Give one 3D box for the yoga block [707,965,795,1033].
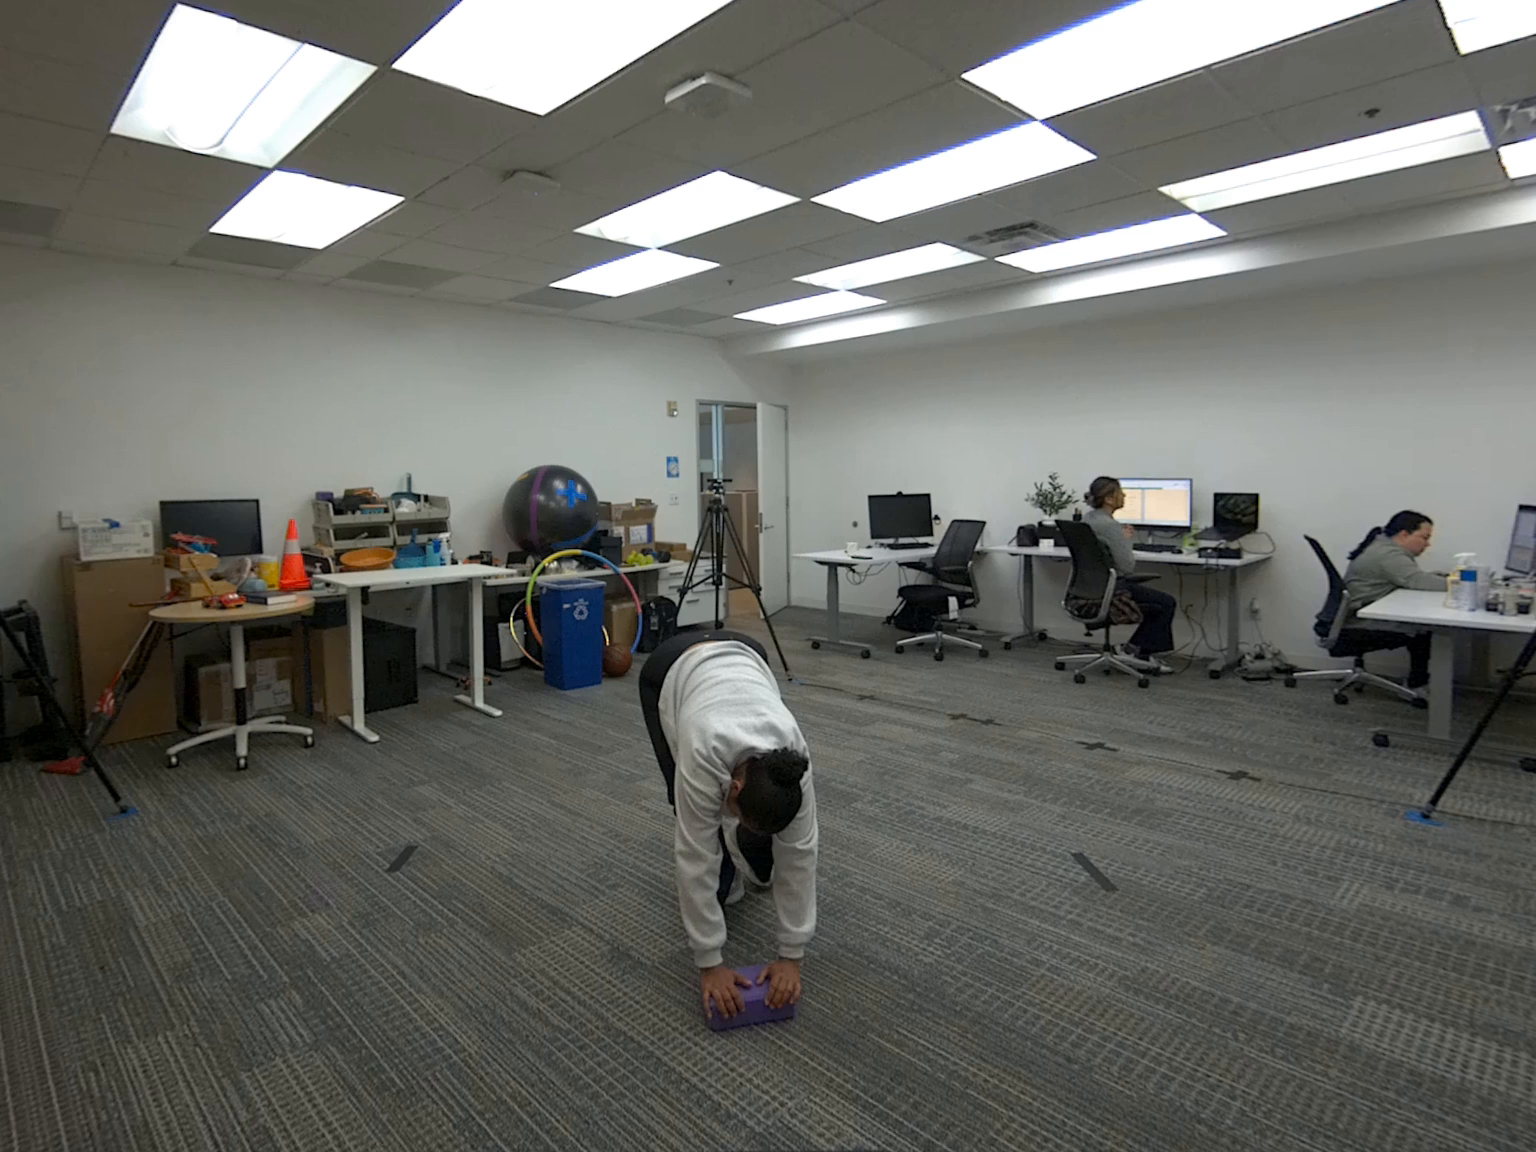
[{"bbox_3d":[-0.045,1.120,2.253,0.227,0.076,0.152,-2,9,-13],"label":"yoga block"}]
